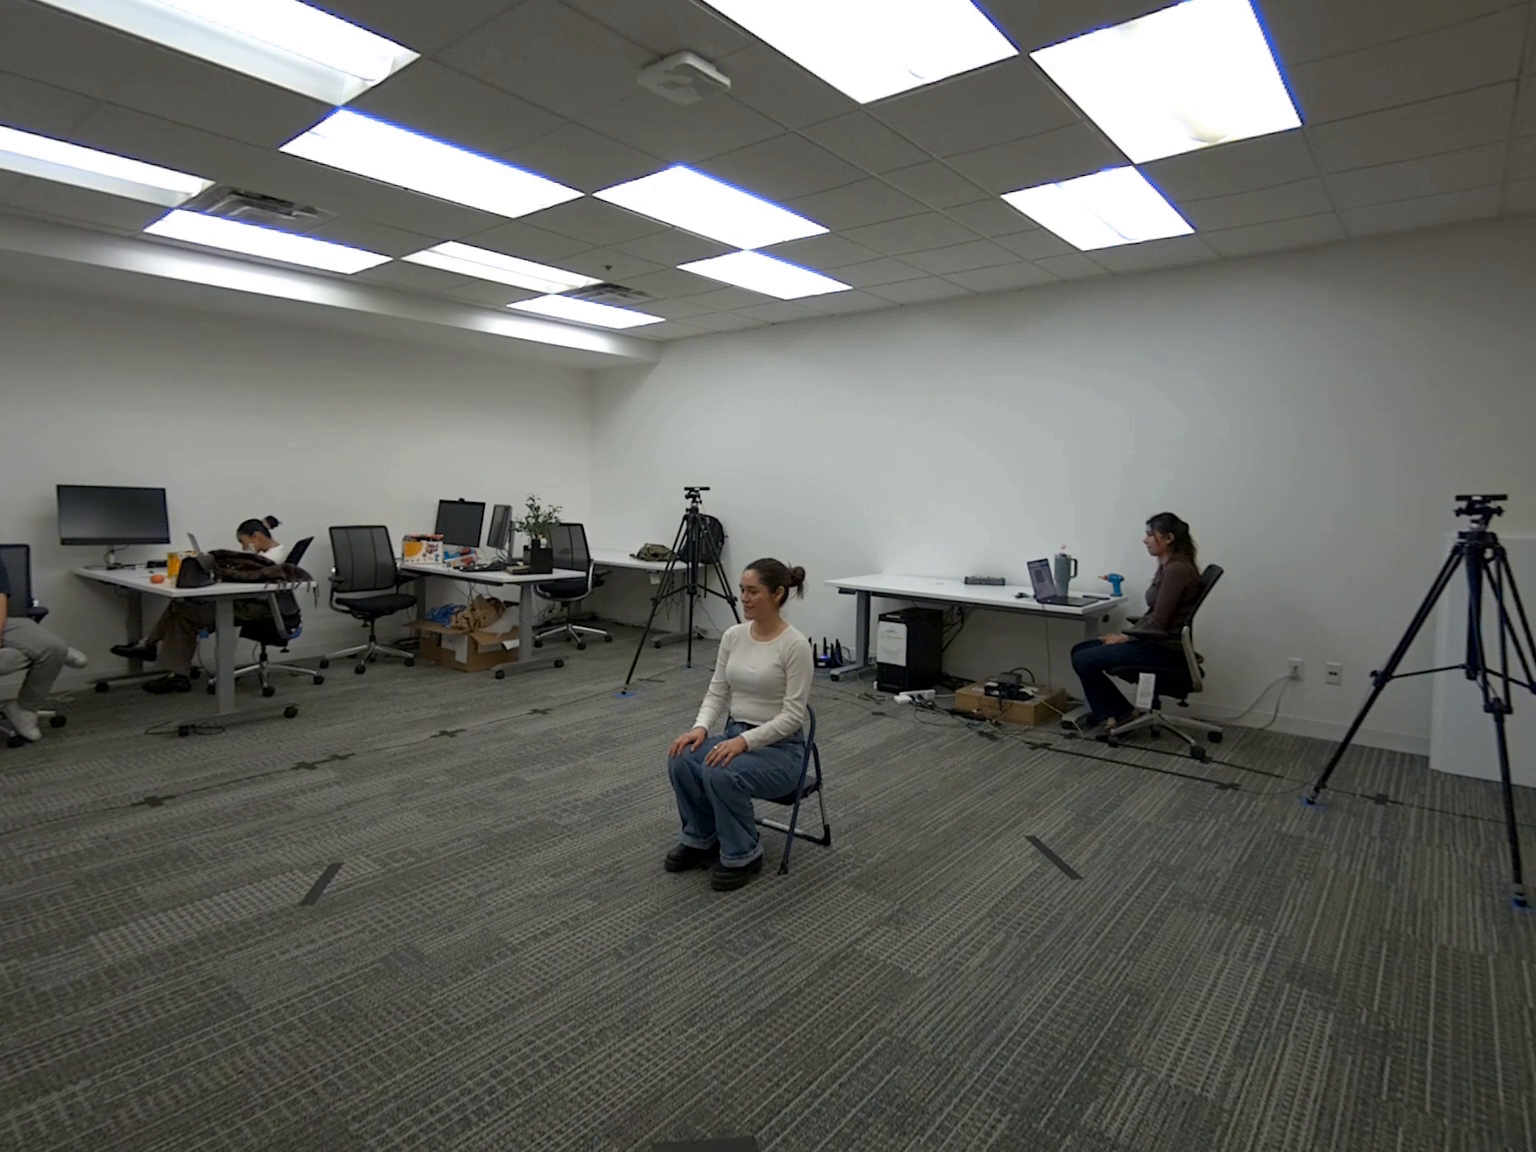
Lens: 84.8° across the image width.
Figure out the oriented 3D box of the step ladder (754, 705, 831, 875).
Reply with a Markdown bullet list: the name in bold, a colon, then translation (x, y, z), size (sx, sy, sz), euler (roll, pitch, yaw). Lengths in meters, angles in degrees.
- **step ladder**: translation (-0.014, 0.742, 3.317), size (0.445, 0.604, 0.339), euler (4, 5, 37)
